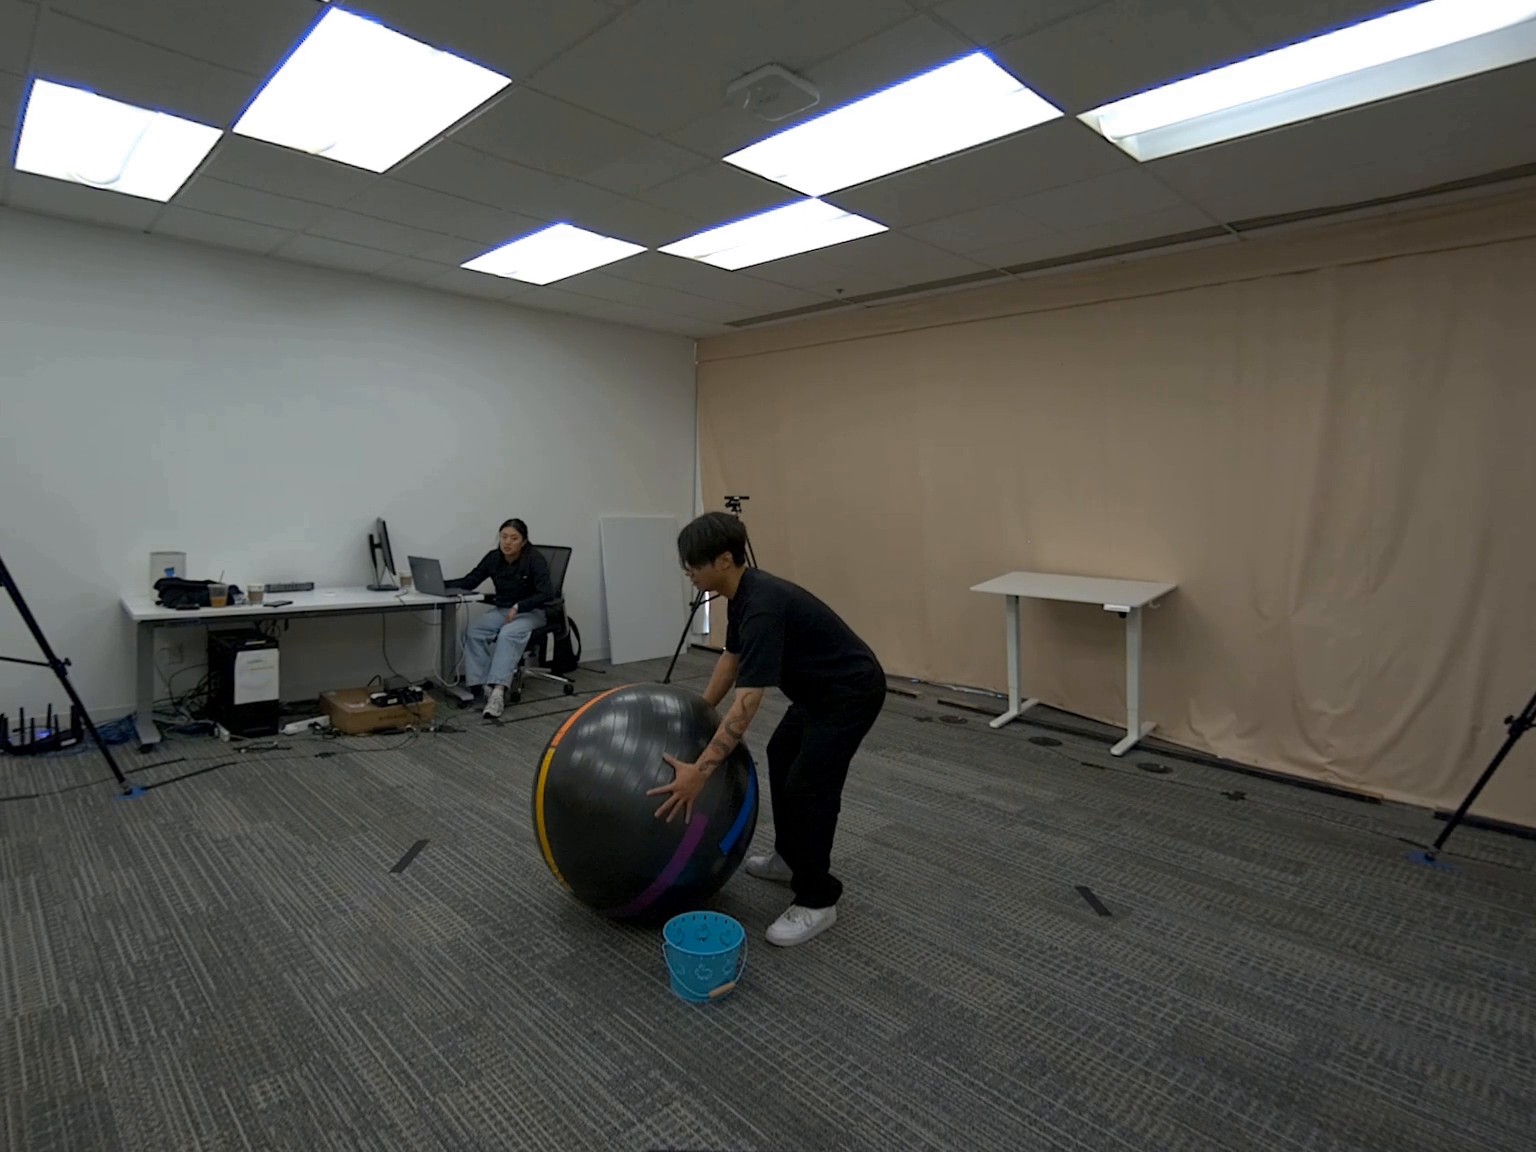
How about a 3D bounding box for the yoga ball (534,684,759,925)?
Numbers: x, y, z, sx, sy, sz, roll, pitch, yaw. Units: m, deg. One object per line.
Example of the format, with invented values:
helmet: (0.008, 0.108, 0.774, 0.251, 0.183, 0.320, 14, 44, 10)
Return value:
yoga ball: (-0.414, 0.759, 2.838, 0.757, 0.756, 0.761, 1, 4, -1)
